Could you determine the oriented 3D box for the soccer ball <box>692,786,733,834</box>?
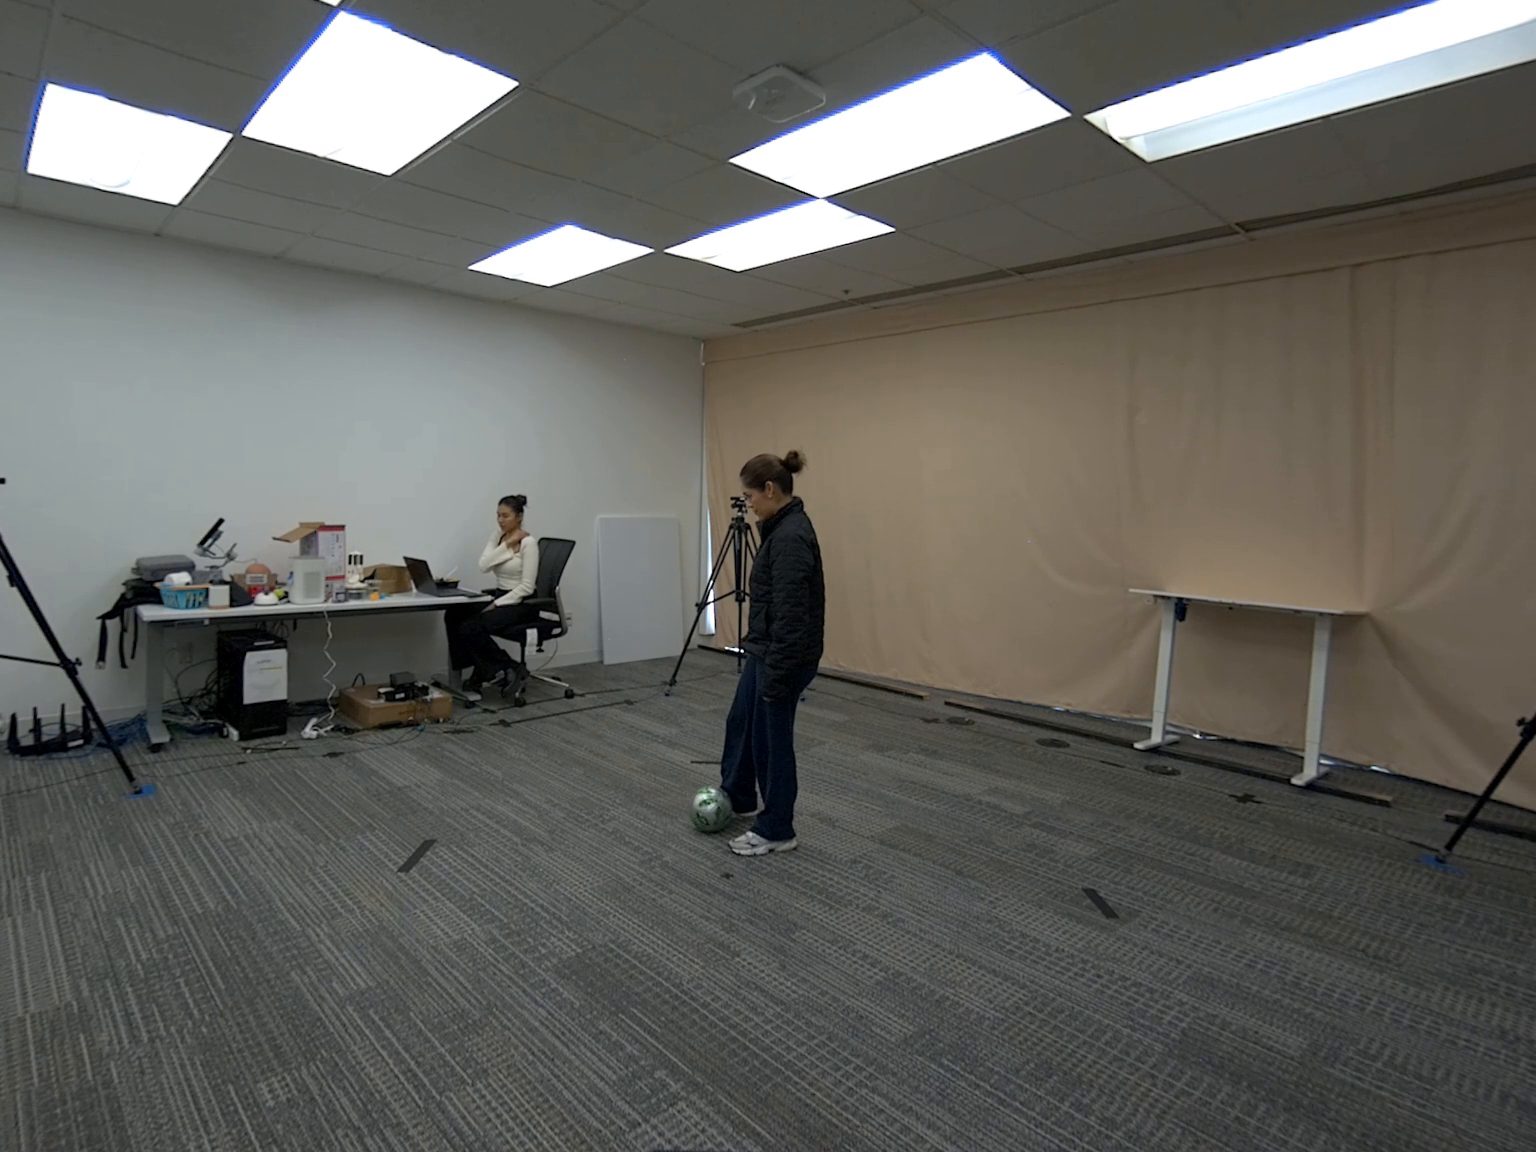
[{"bbox_3d":[-0.253,0.979,3.524,0.187,0.187,0.188,1,4,-1],"label":"soccer ball"}]
